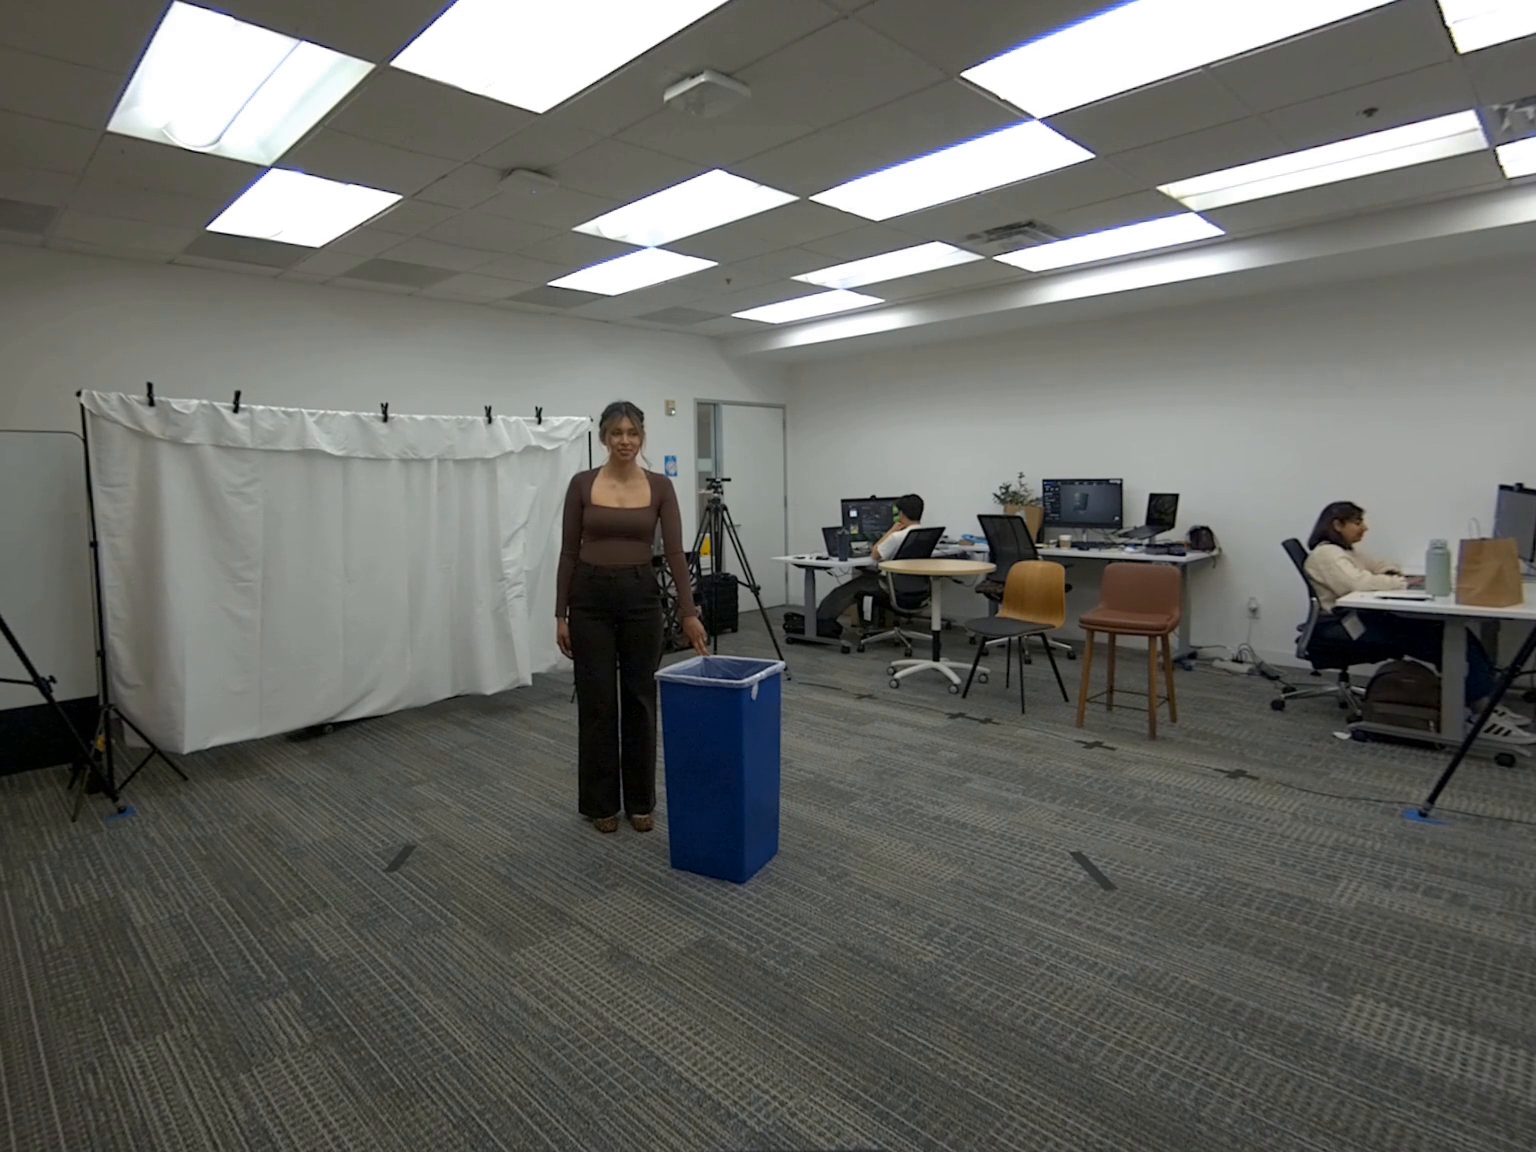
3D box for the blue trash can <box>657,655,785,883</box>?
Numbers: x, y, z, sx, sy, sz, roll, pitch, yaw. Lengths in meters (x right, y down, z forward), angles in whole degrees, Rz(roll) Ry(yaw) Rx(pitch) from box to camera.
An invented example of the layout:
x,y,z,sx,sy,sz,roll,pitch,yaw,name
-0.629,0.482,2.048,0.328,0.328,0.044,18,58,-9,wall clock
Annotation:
x,y,z,sx,sy,sz,roll,pitch,yaw,name
-0.165,0.683,3.119,0.383,0.711,0.370,2,4,27,blue trash can
